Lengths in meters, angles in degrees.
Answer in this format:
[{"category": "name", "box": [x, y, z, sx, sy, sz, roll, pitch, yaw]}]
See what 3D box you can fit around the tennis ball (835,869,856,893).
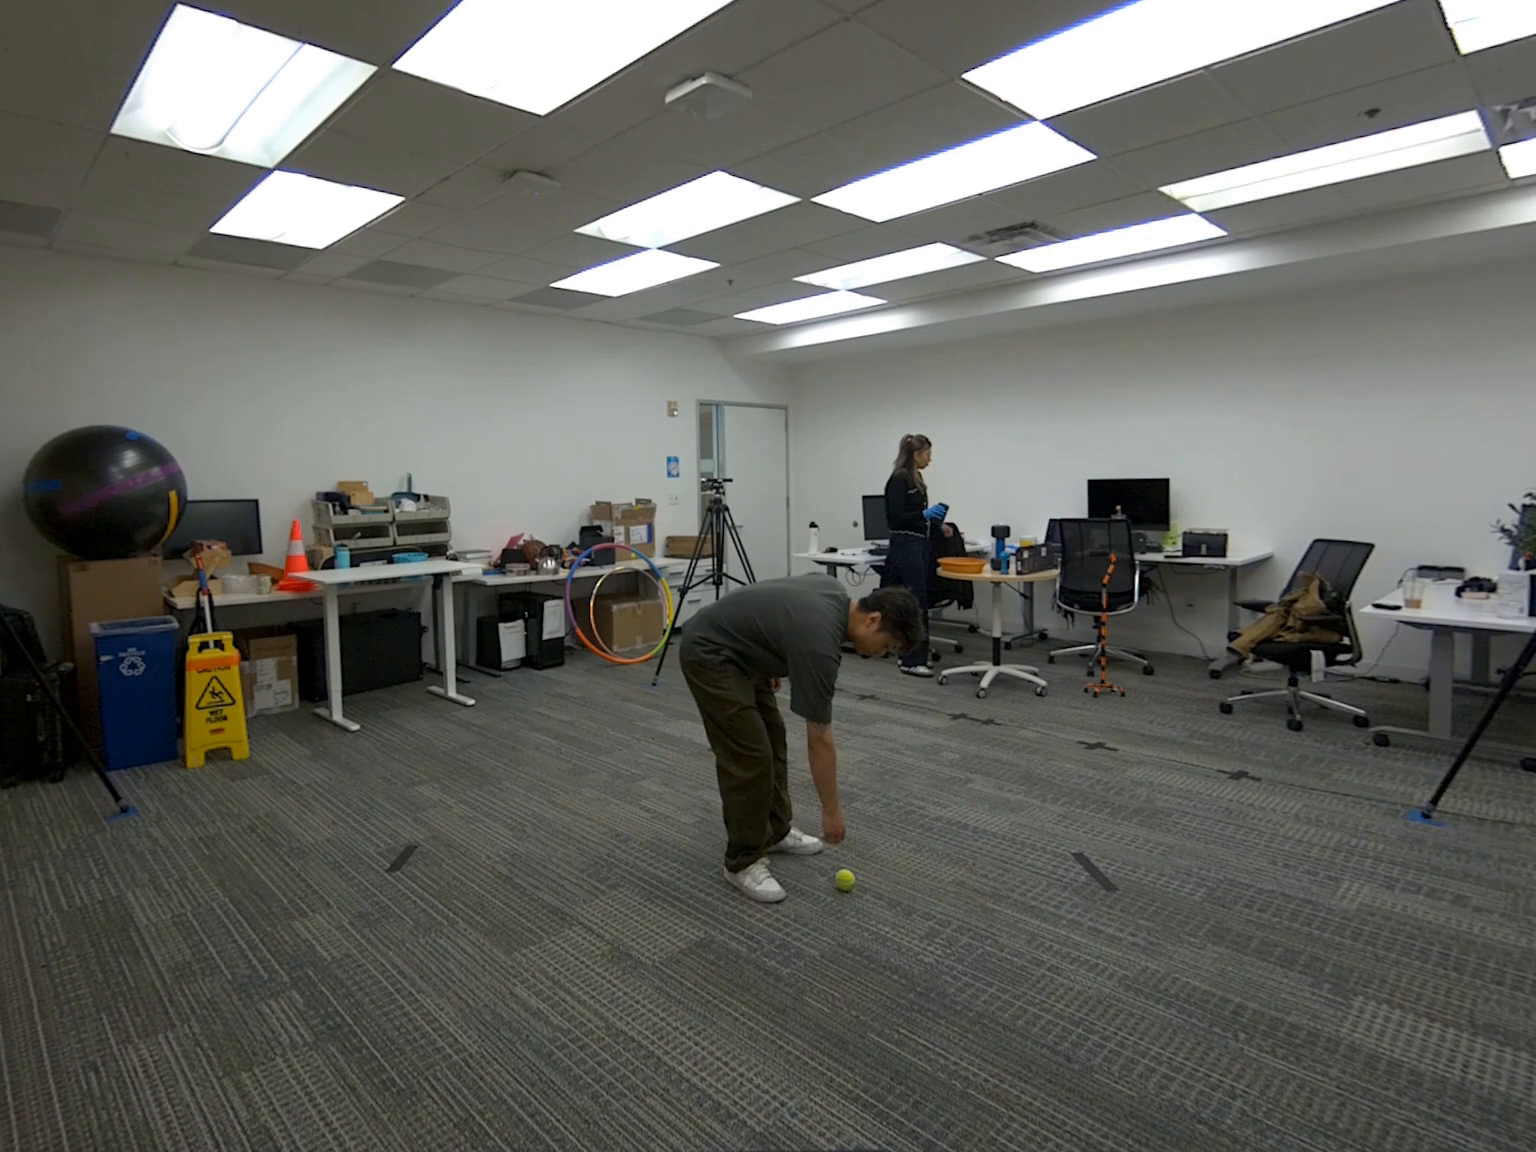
[{"category": "tennis ball", "box": [0.262, 1.012, 2.892, 0.066, 0.066, 0.067, -1, 5, -2]}]
